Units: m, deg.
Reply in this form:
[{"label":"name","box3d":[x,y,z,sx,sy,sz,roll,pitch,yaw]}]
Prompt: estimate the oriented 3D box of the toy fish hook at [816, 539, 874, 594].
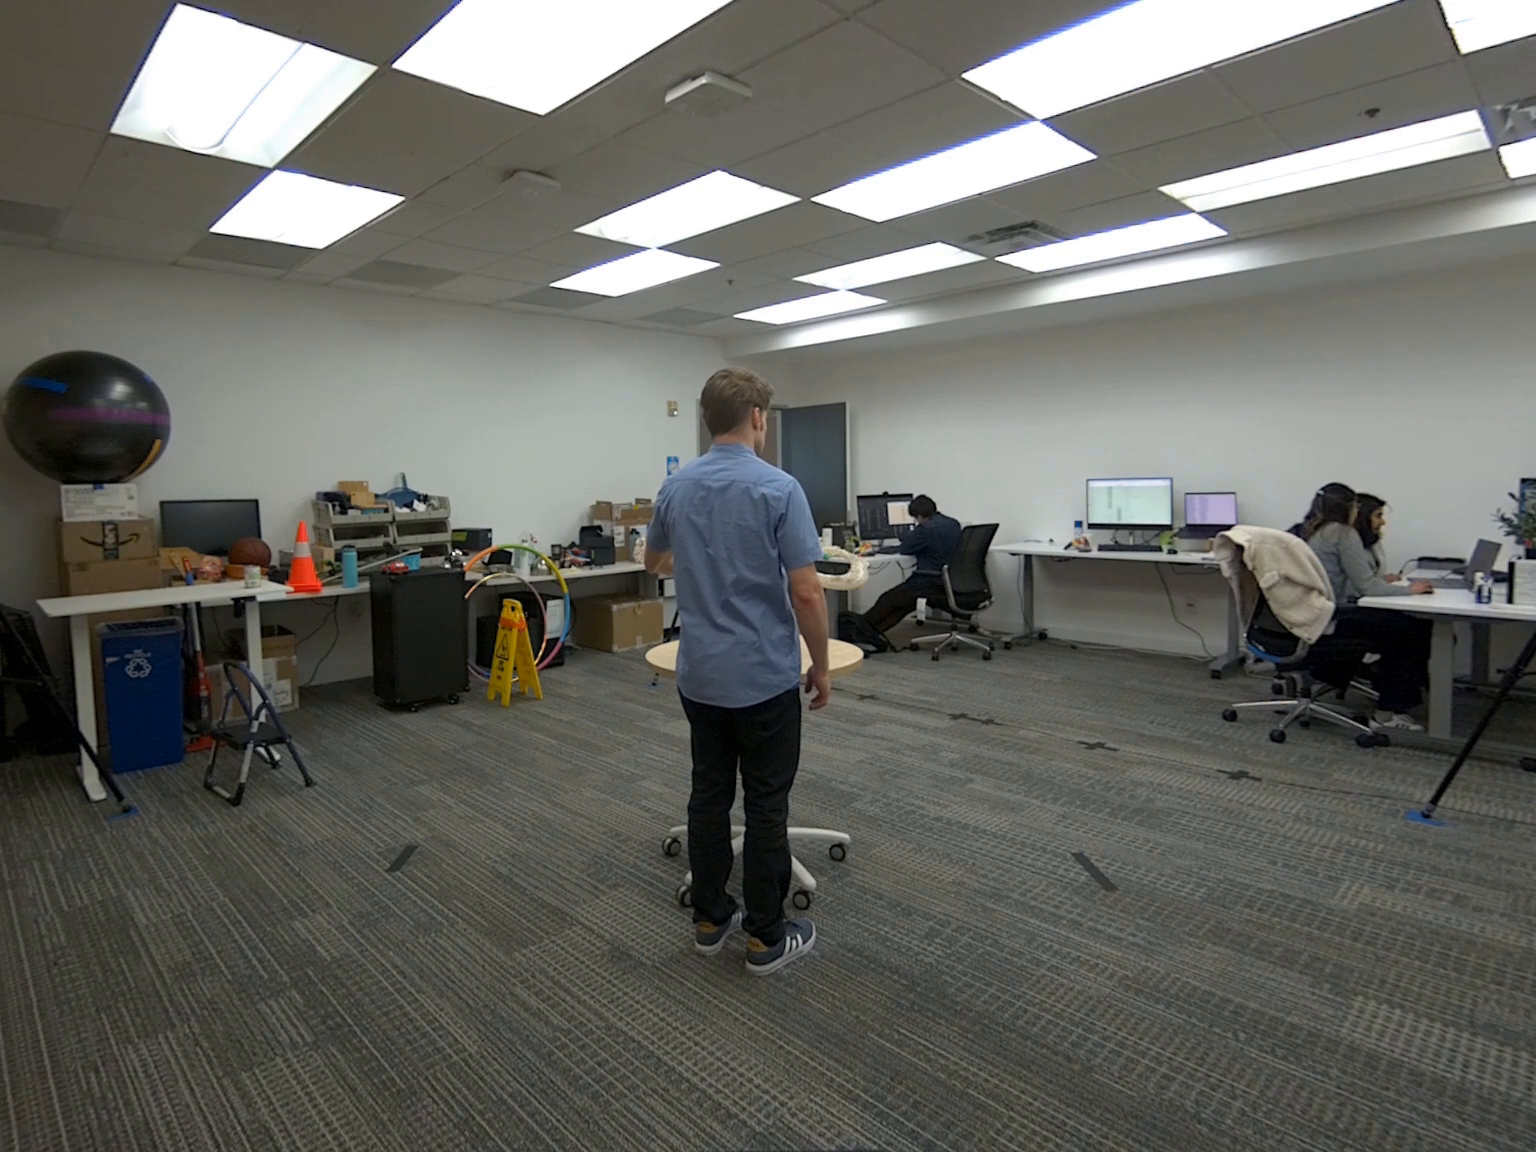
[{"label":"toy fish hook","box3d":[0.102,-0.060,2.941,0.510,0.047,0.228,8,32,5]}]
